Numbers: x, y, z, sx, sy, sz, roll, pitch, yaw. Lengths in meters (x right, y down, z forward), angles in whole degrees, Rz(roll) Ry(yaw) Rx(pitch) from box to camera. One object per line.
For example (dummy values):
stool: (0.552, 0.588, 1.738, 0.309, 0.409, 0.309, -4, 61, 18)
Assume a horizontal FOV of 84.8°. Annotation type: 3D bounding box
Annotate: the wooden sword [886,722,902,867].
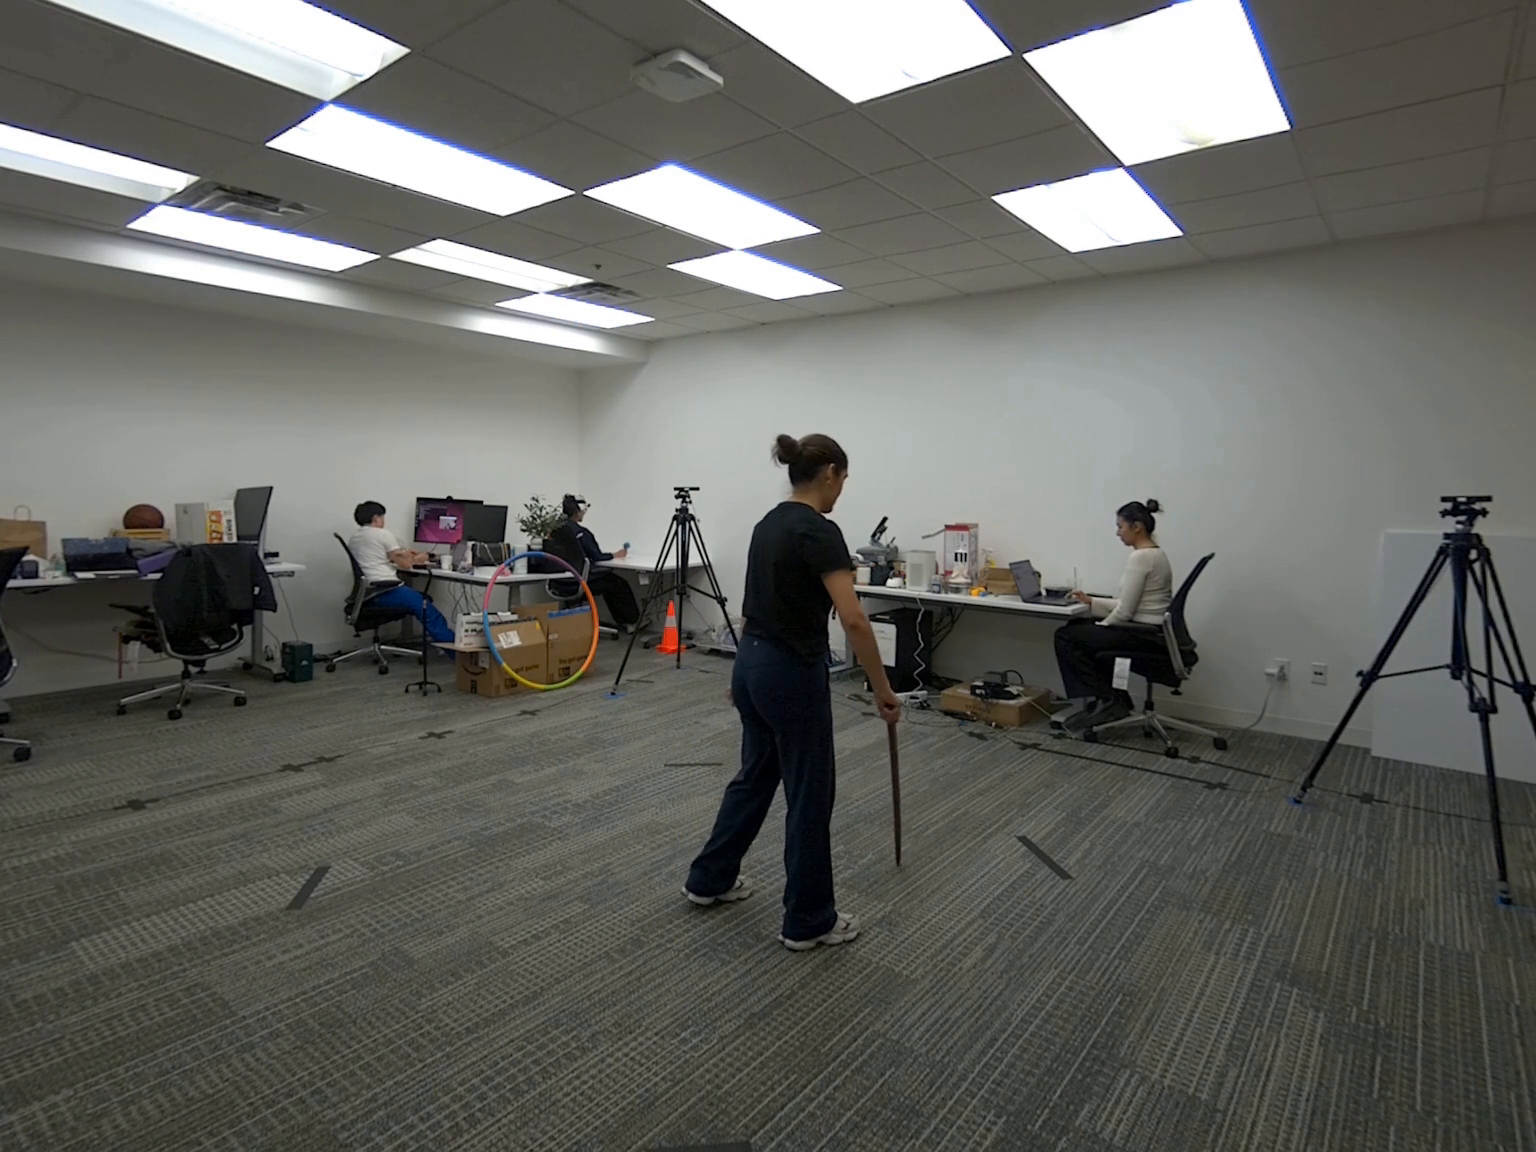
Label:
wooden sword: (0.432, 0.704, 2.858, 0.051, 0.990, 0.025, -12, 43, -3)
